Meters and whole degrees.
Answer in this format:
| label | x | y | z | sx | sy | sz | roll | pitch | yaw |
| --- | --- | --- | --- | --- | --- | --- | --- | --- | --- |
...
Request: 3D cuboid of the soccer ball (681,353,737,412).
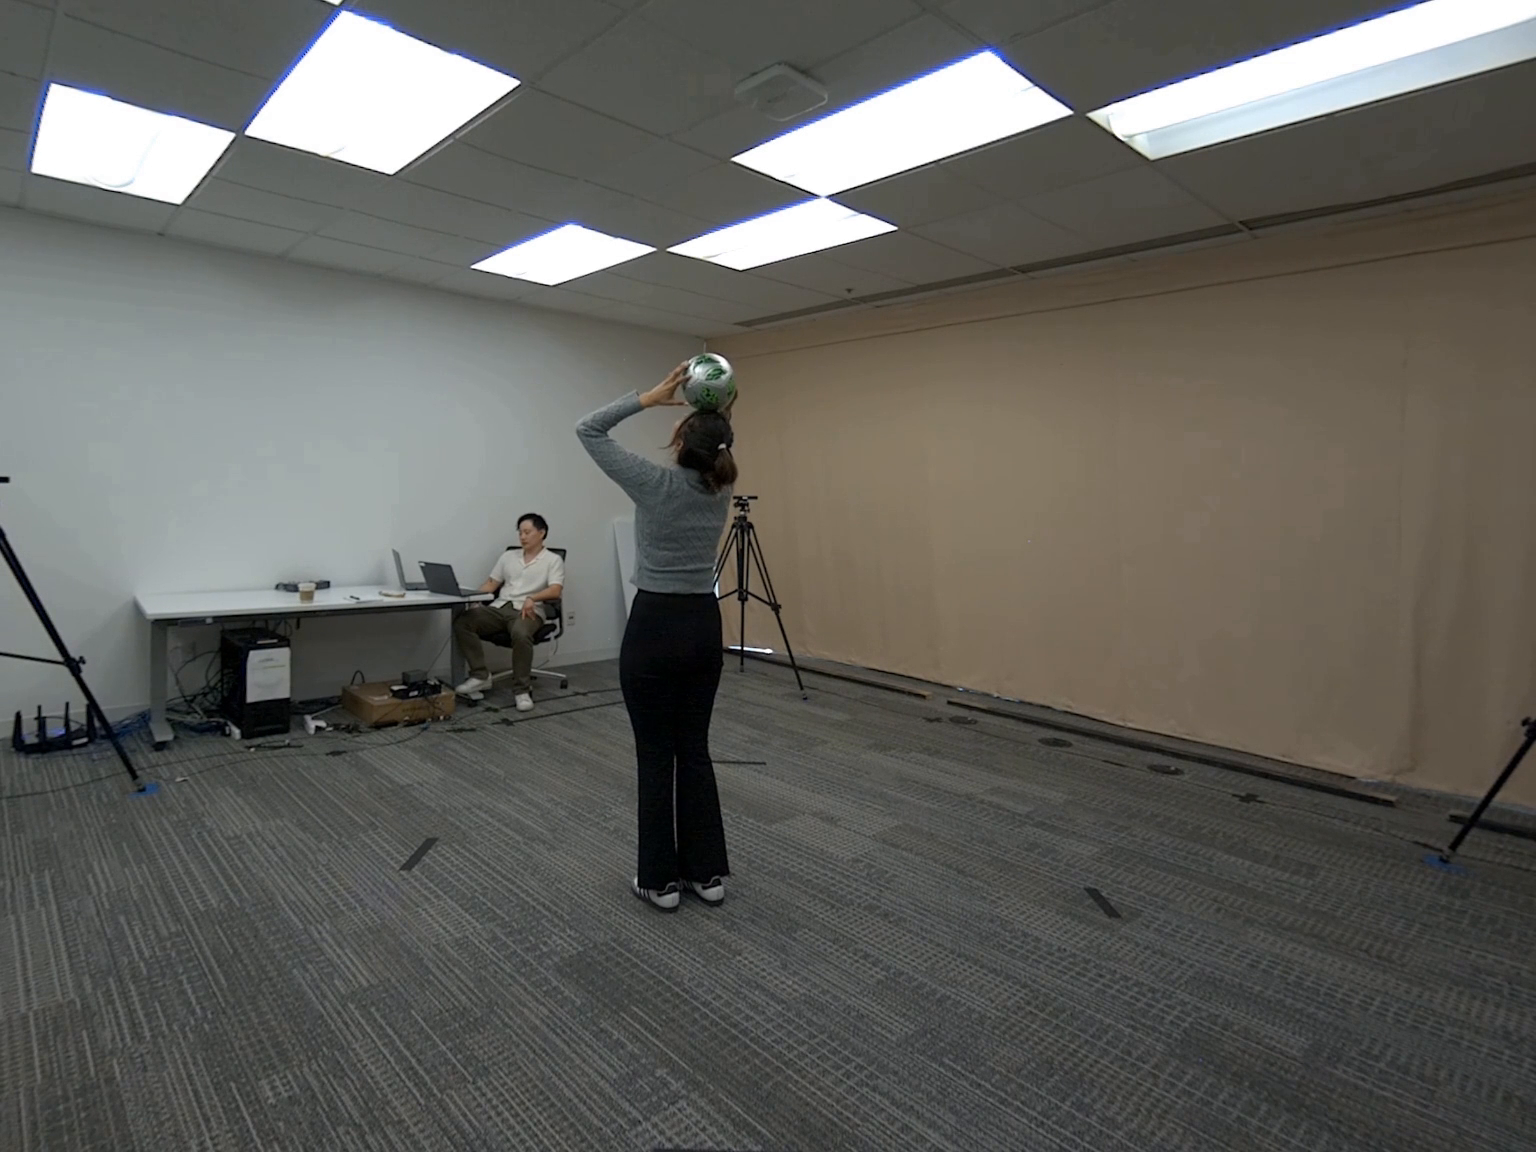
| label | x | y | z | sx | sy | sz | roll | pitch | yaw |
| --- | --- | --- | --- | --- | --- | --- | --- | --- | --- |
| soccer ball | -0.210 | -0.633 | 2.755 | 0.187 | 0.187 | 0.188 | 1 | 4 | -1 |
